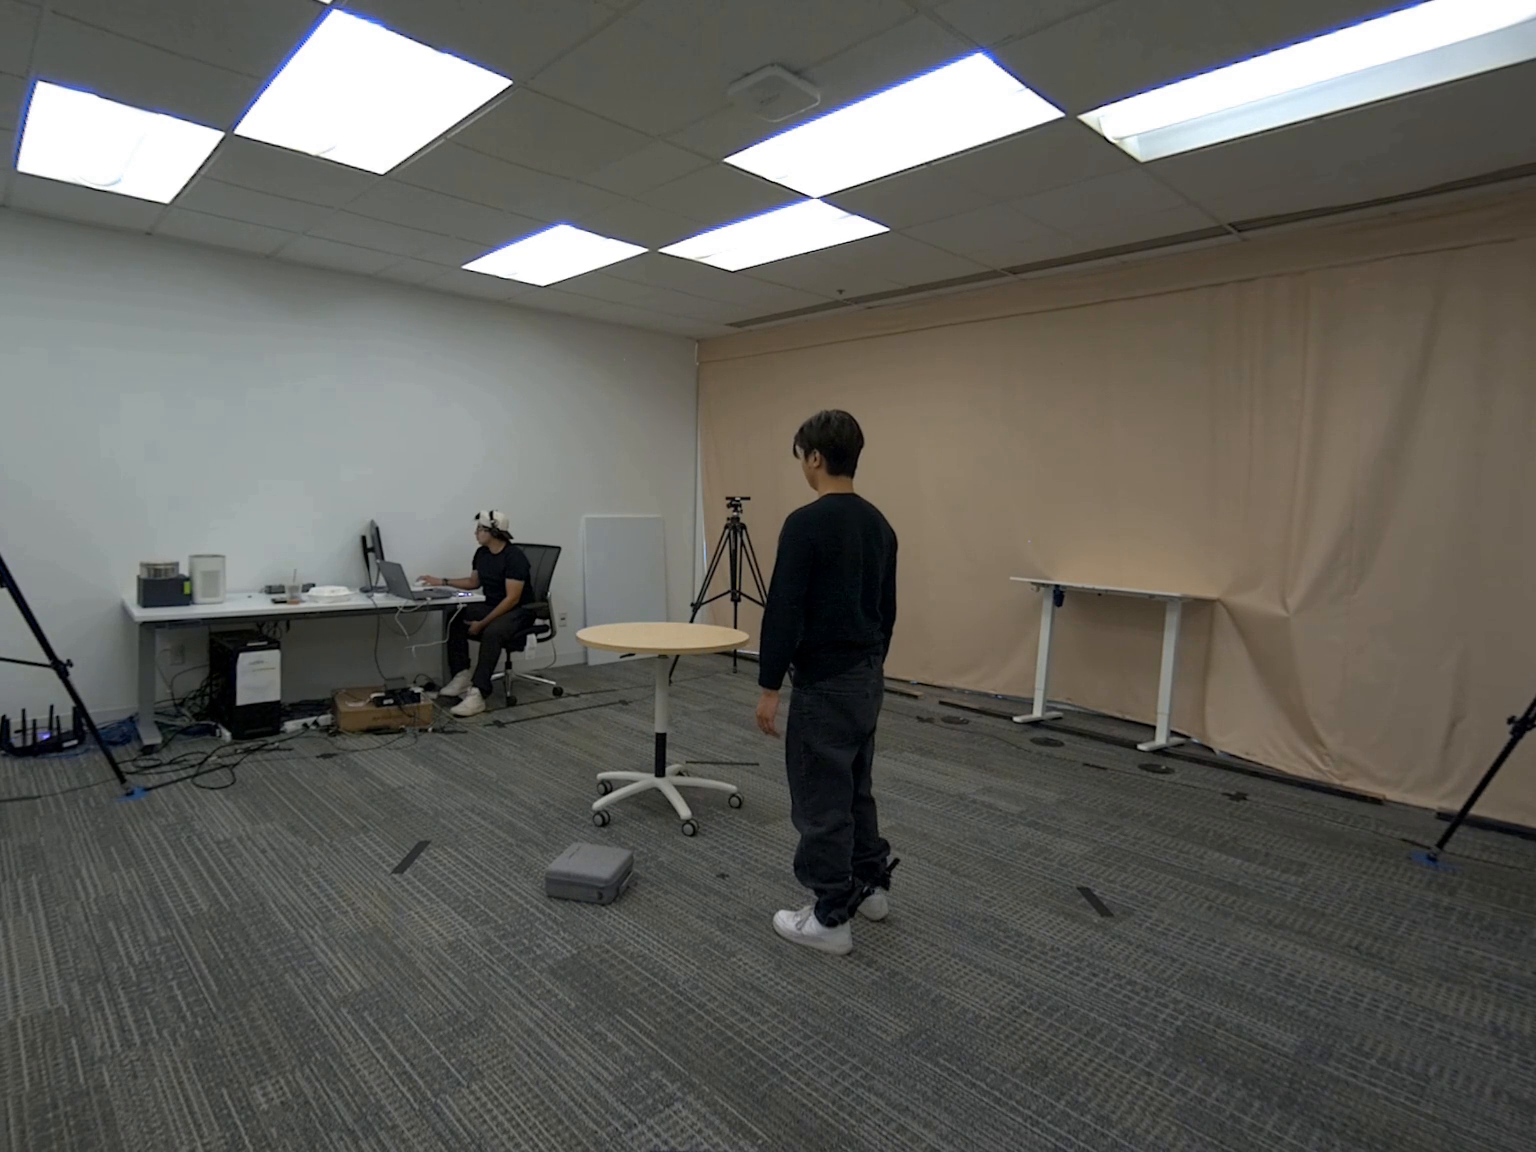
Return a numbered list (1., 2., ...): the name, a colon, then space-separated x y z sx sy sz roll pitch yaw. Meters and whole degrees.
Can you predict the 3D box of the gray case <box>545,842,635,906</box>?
1. gray case: -0.629 1.044 2.996 0.263 0.104 0.255 3 5 13
